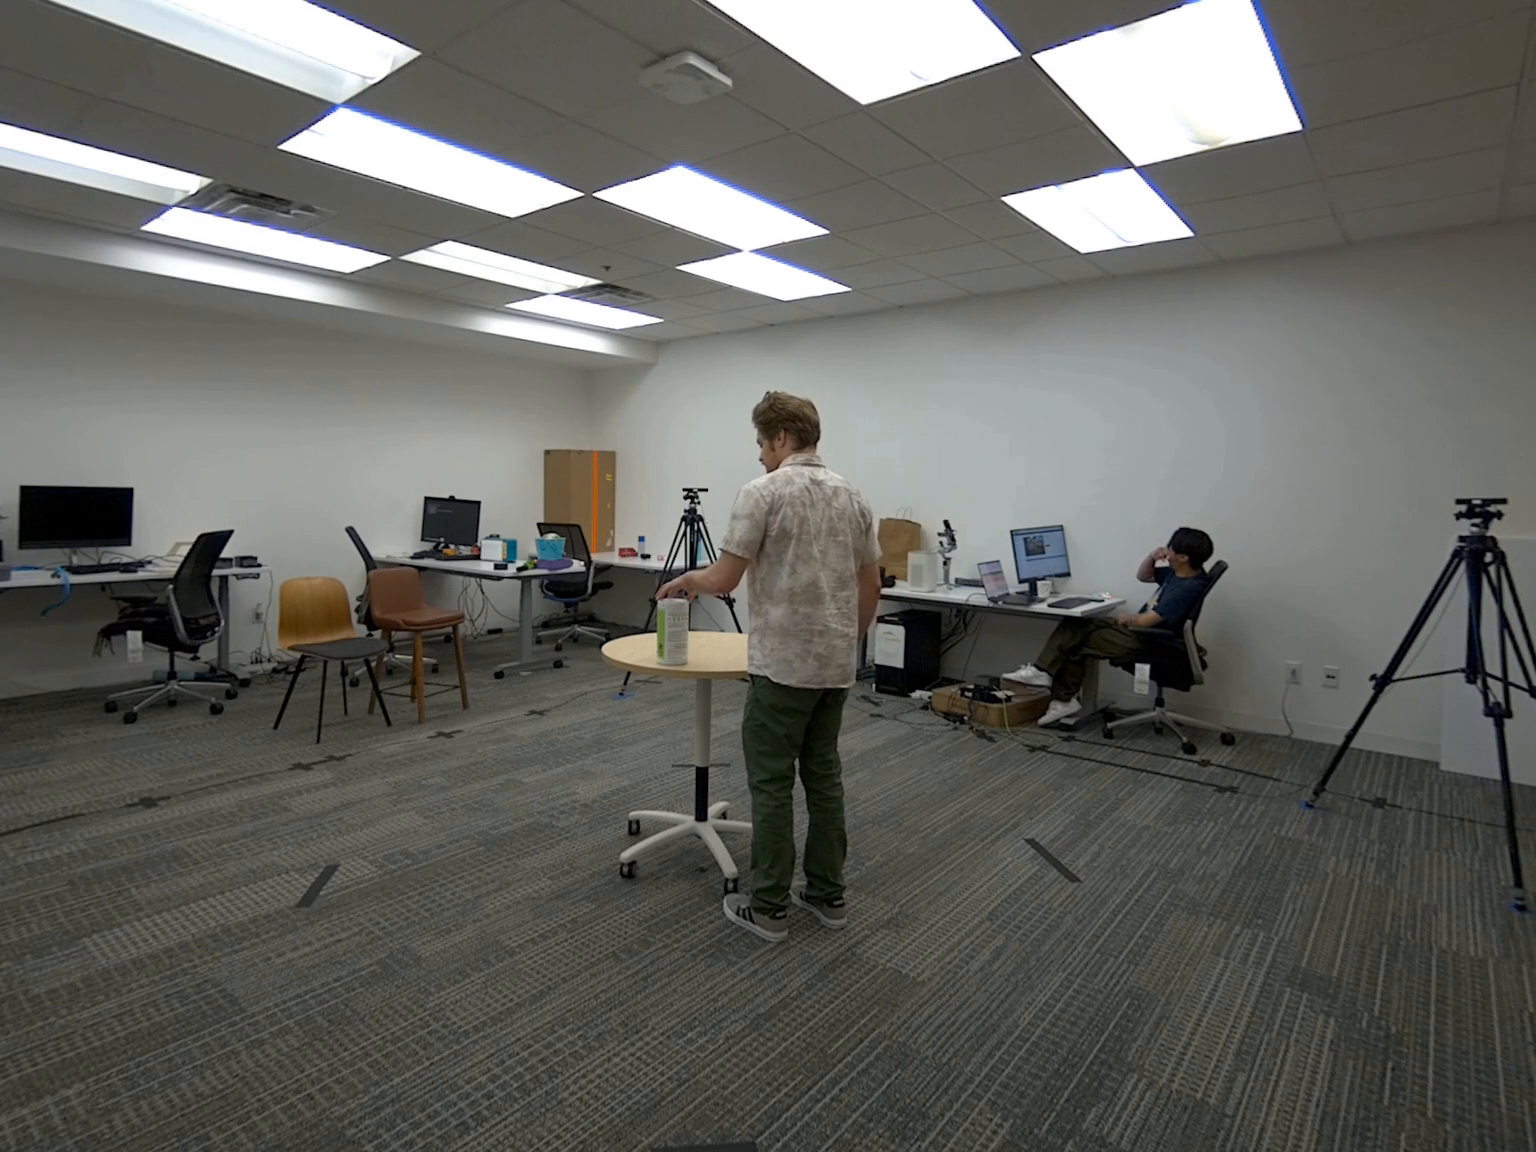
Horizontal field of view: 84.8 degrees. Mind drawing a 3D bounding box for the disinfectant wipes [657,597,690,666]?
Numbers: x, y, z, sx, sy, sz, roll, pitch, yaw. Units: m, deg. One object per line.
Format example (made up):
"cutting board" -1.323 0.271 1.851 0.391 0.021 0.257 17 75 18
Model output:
"disinfectant wipes" -0.337 0.192 2.924 0.118 0.216 0.118 1 4 -2
